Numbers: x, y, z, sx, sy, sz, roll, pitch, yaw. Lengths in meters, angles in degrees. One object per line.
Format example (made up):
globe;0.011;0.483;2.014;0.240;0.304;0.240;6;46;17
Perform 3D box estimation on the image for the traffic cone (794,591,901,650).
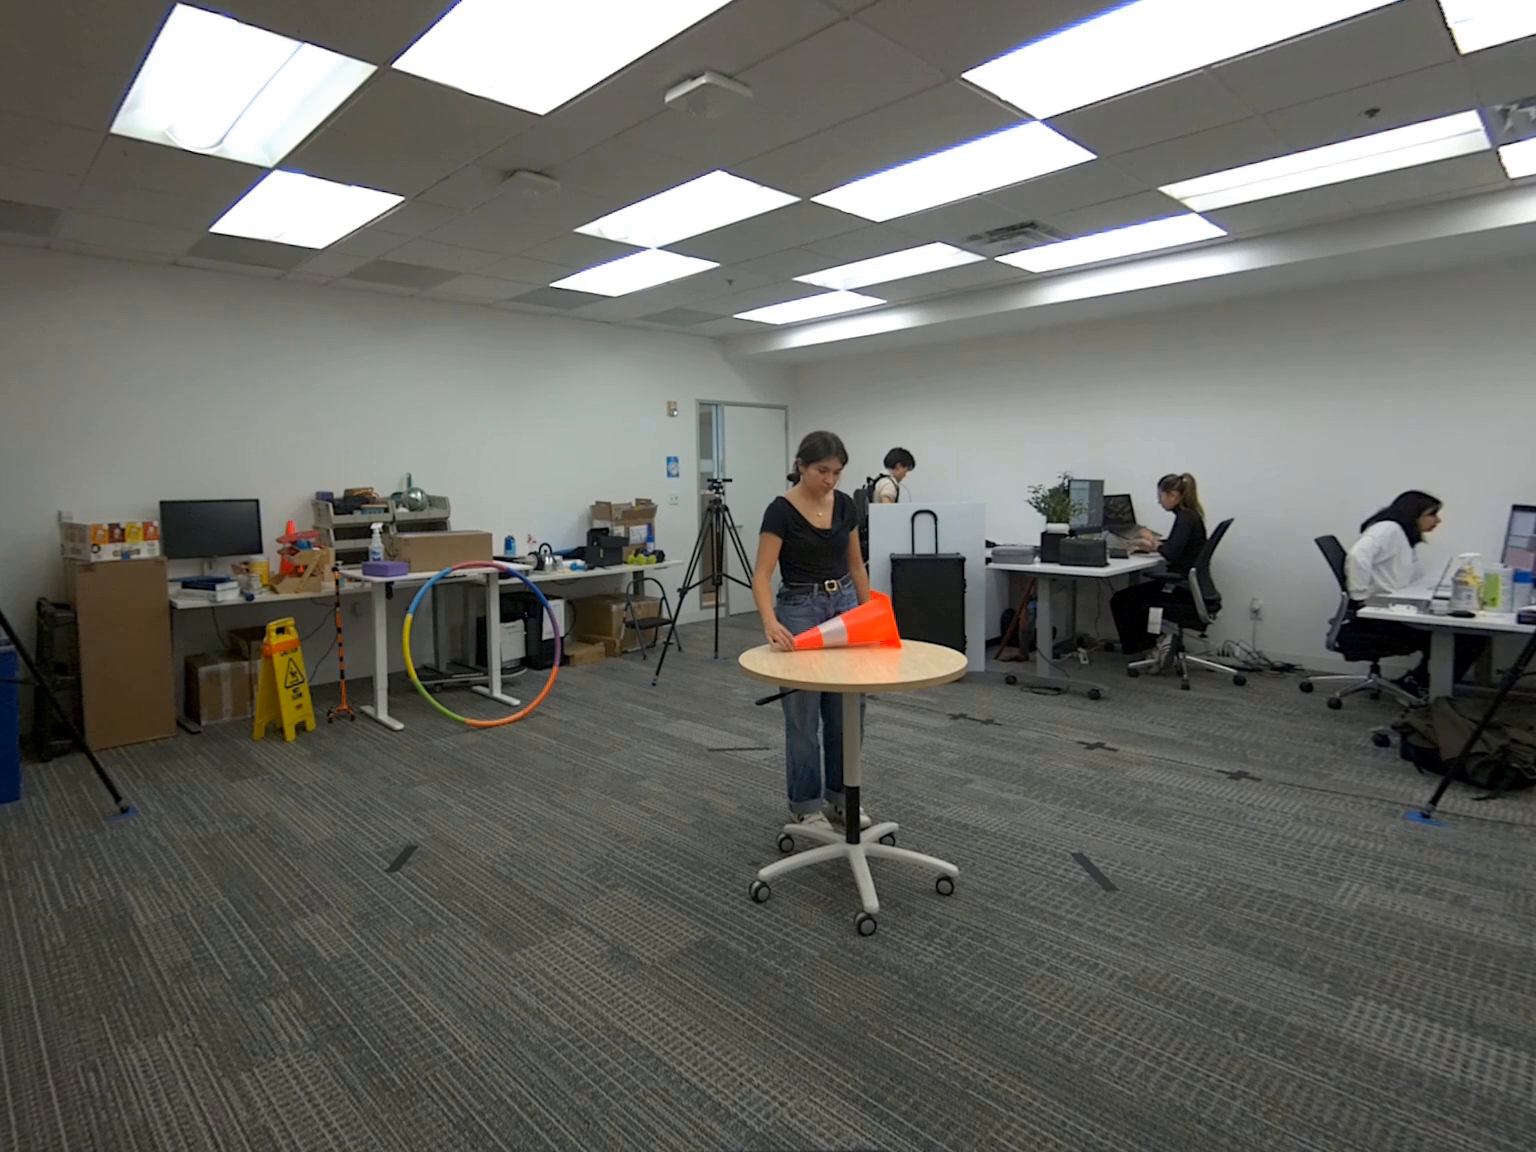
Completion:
traffic cone;0.249;0.199;3.089;0.380;0.202;0.208;-13;13;-13
